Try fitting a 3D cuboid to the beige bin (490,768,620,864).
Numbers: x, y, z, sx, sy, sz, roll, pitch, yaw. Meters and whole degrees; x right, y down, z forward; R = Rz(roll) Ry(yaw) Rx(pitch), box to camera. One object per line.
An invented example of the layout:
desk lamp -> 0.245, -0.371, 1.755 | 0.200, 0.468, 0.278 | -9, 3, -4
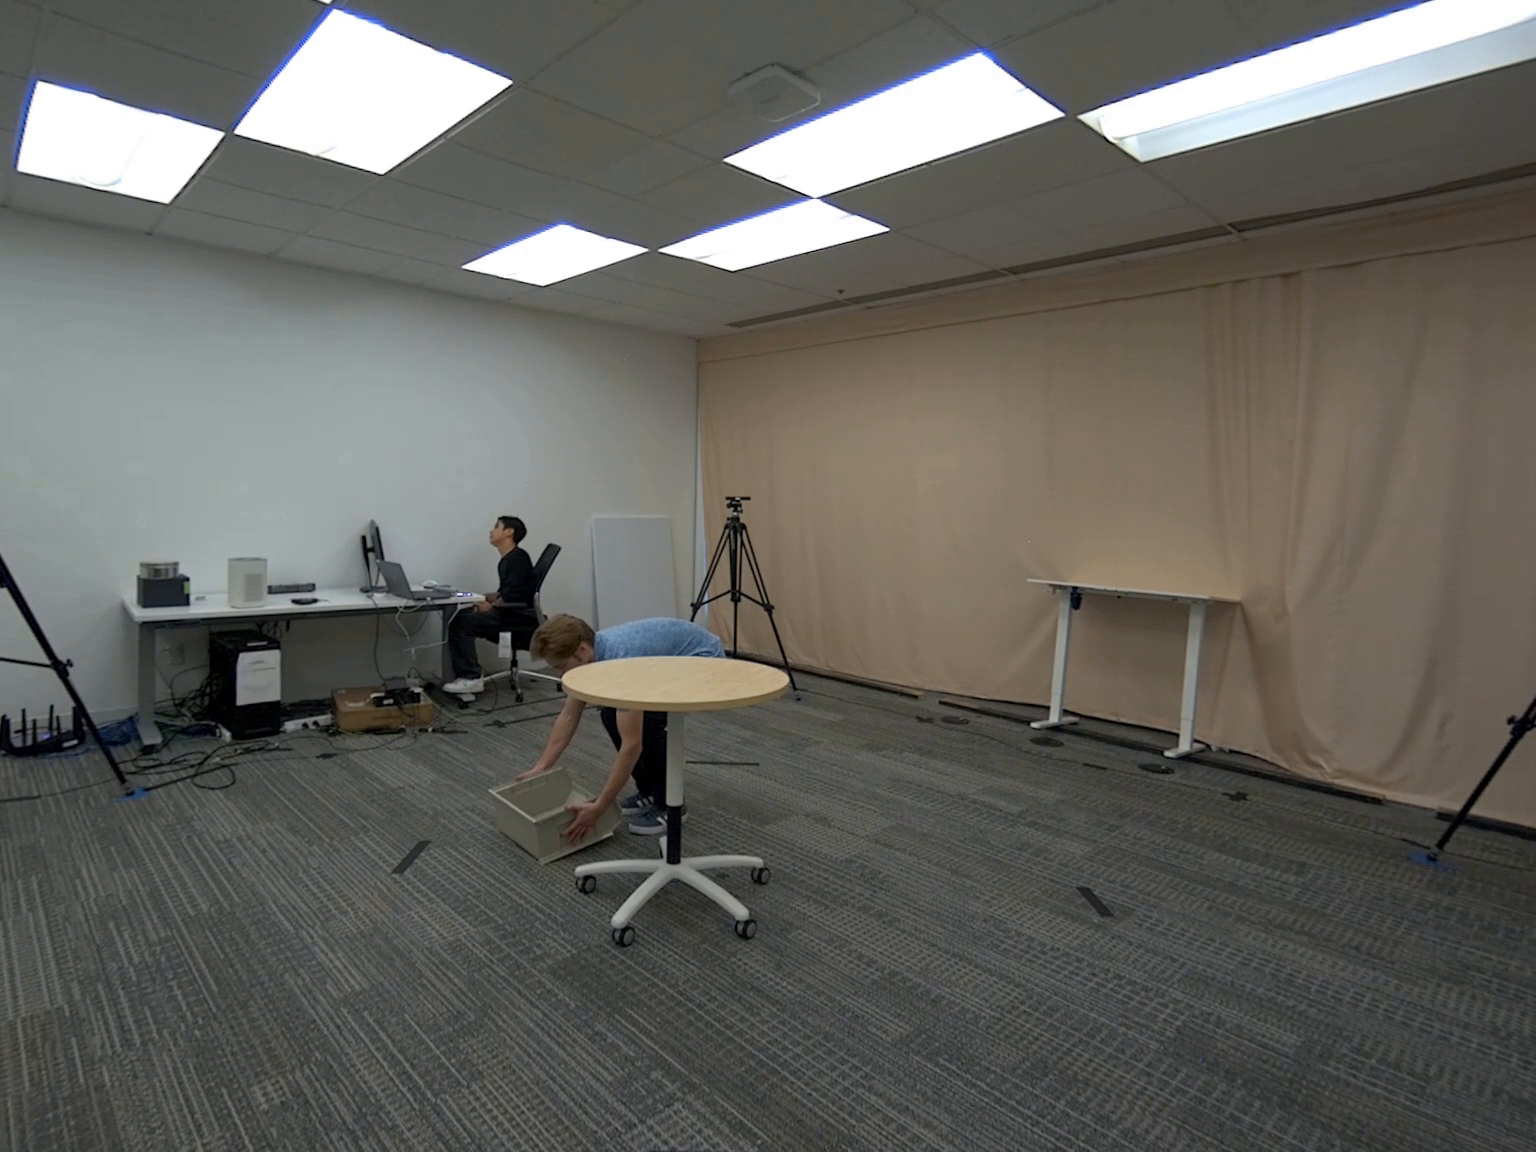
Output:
beige bin -> -0.871, 0.956, 3.414 | 0.370, 0.188, 0.433 | -12, 12, -40
